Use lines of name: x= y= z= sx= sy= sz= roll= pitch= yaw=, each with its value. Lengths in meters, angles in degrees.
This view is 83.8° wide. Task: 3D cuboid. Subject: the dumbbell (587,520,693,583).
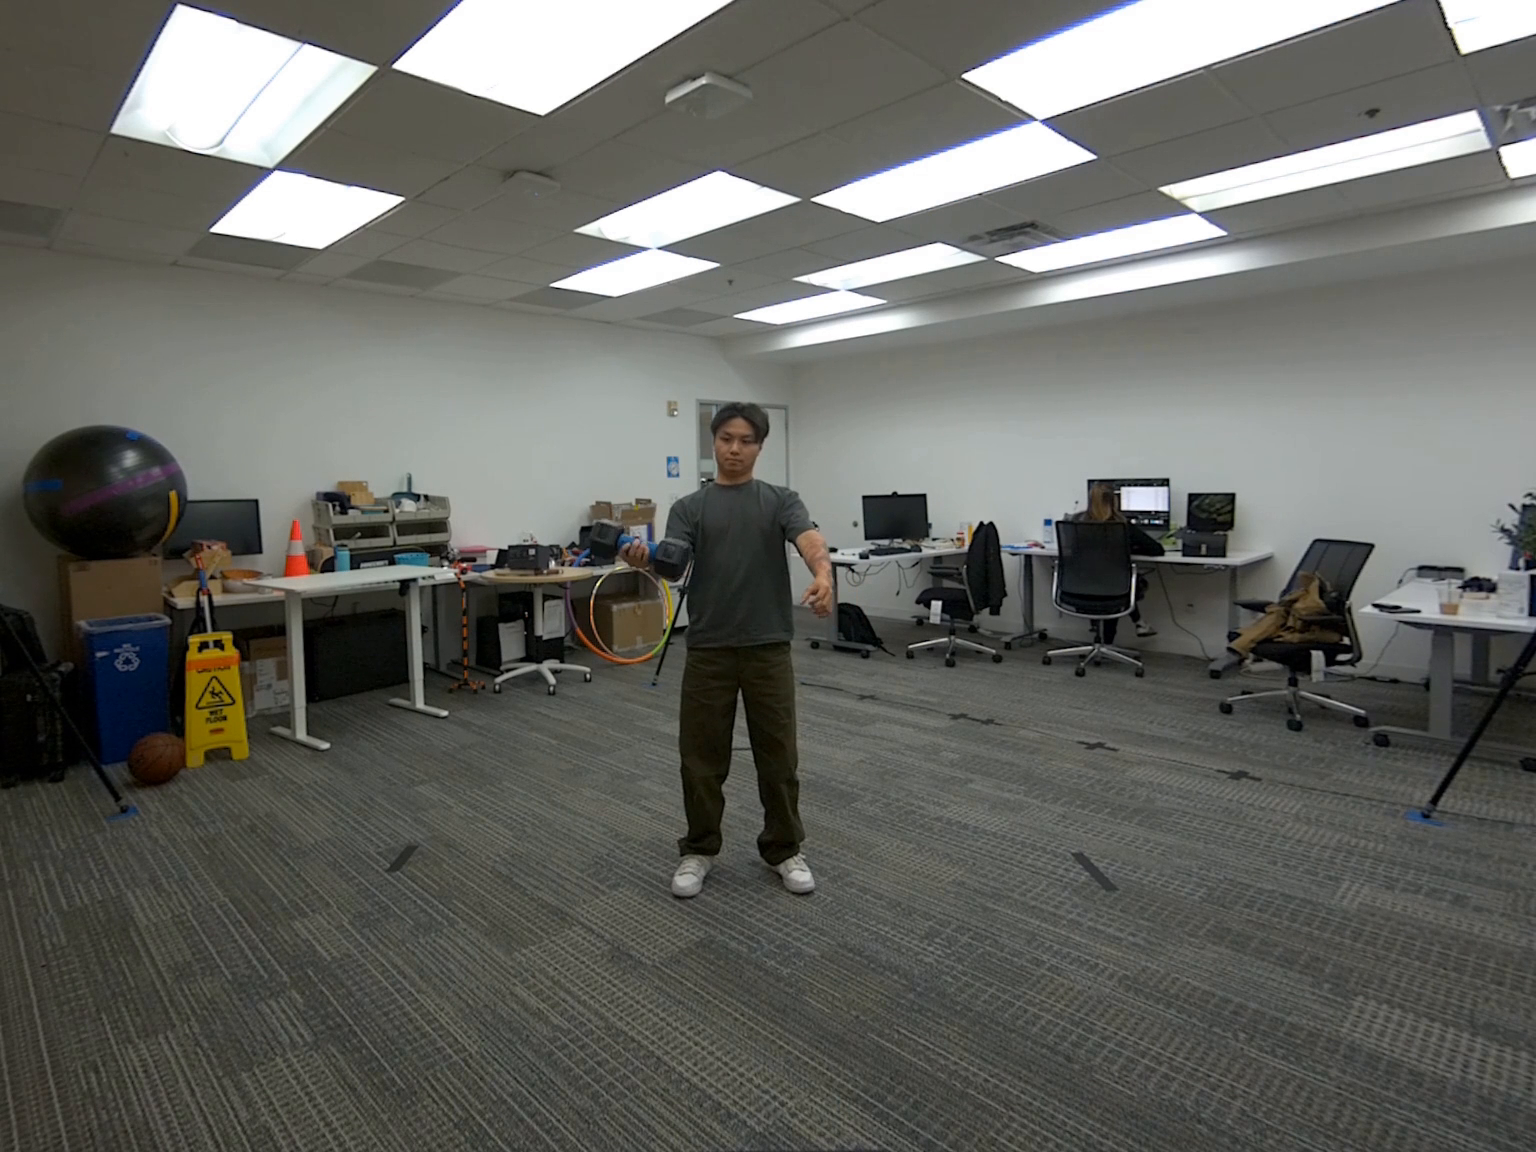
dumbbell: x=-0.384 y=-0.089 z=2.576 sx=0.297 sy=0.120 sz=0.110 roll=15 pitch=40 yaw=9
